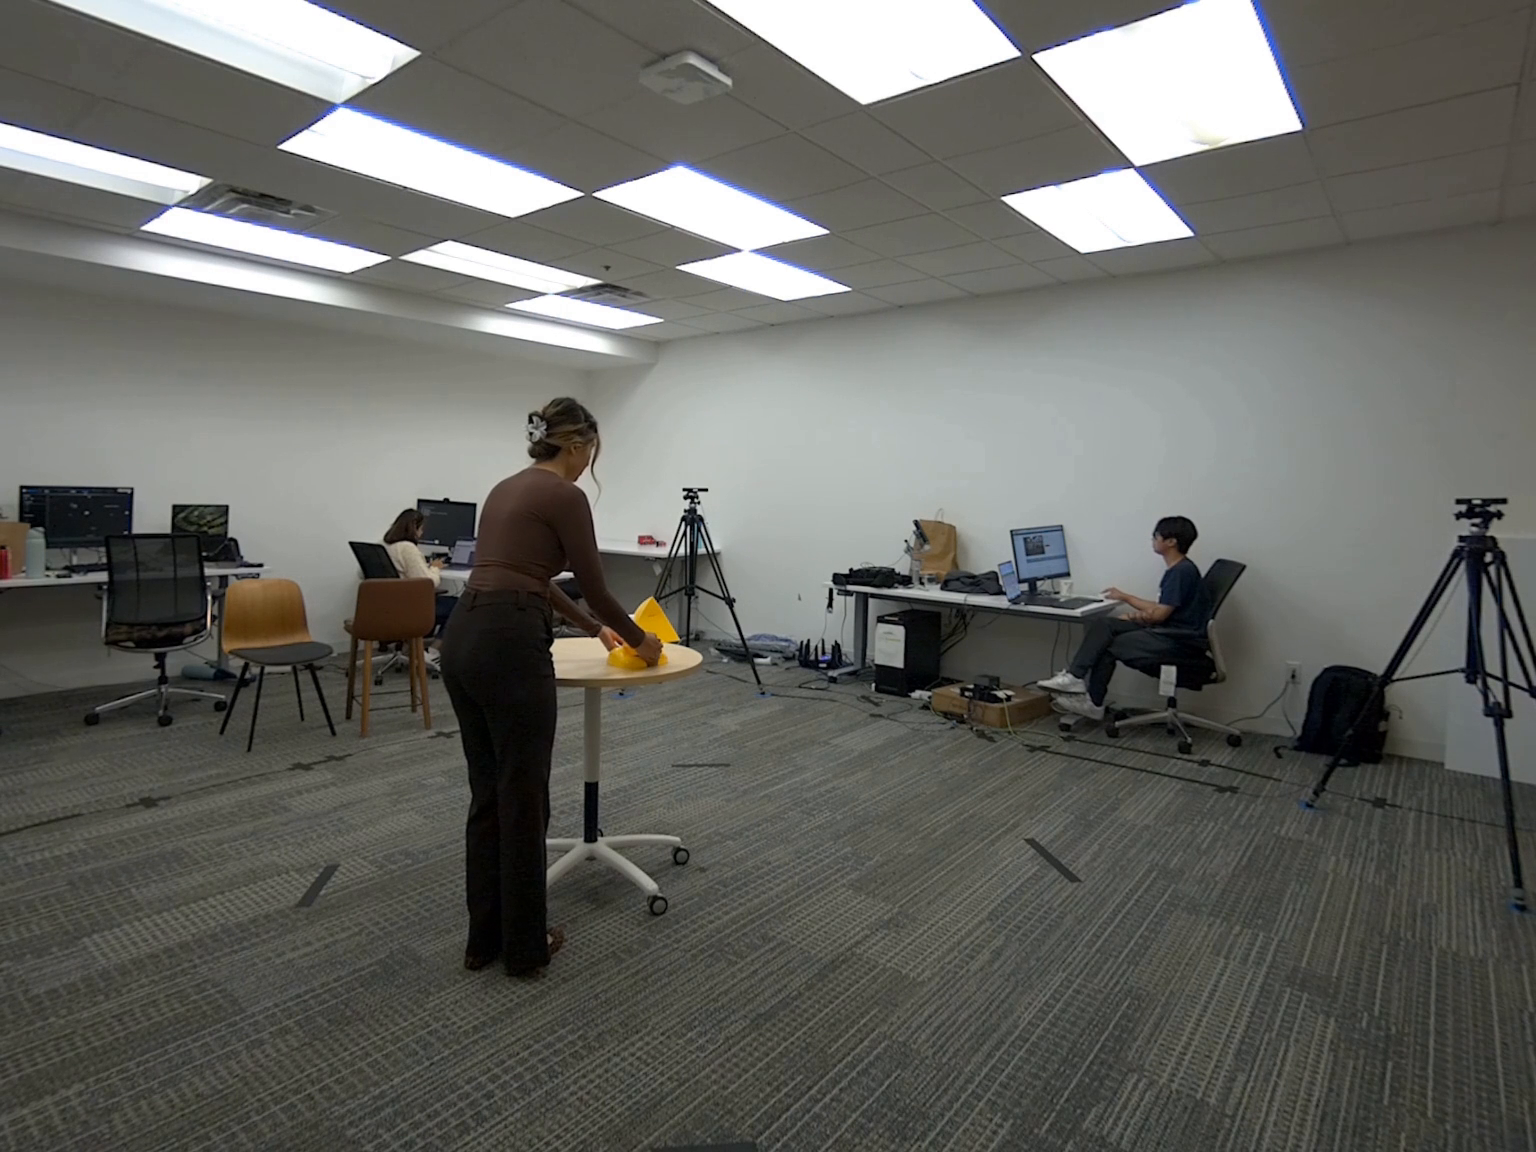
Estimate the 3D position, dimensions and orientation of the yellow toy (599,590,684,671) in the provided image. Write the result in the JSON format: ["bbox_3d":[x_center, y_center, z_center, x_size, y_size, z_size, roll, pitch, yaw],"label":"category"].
[{"bbox_3d":[-0.433,0.177,2.859,0.198,0.230,0.199,-1,4,-44],"label":"yellow toy"}]
